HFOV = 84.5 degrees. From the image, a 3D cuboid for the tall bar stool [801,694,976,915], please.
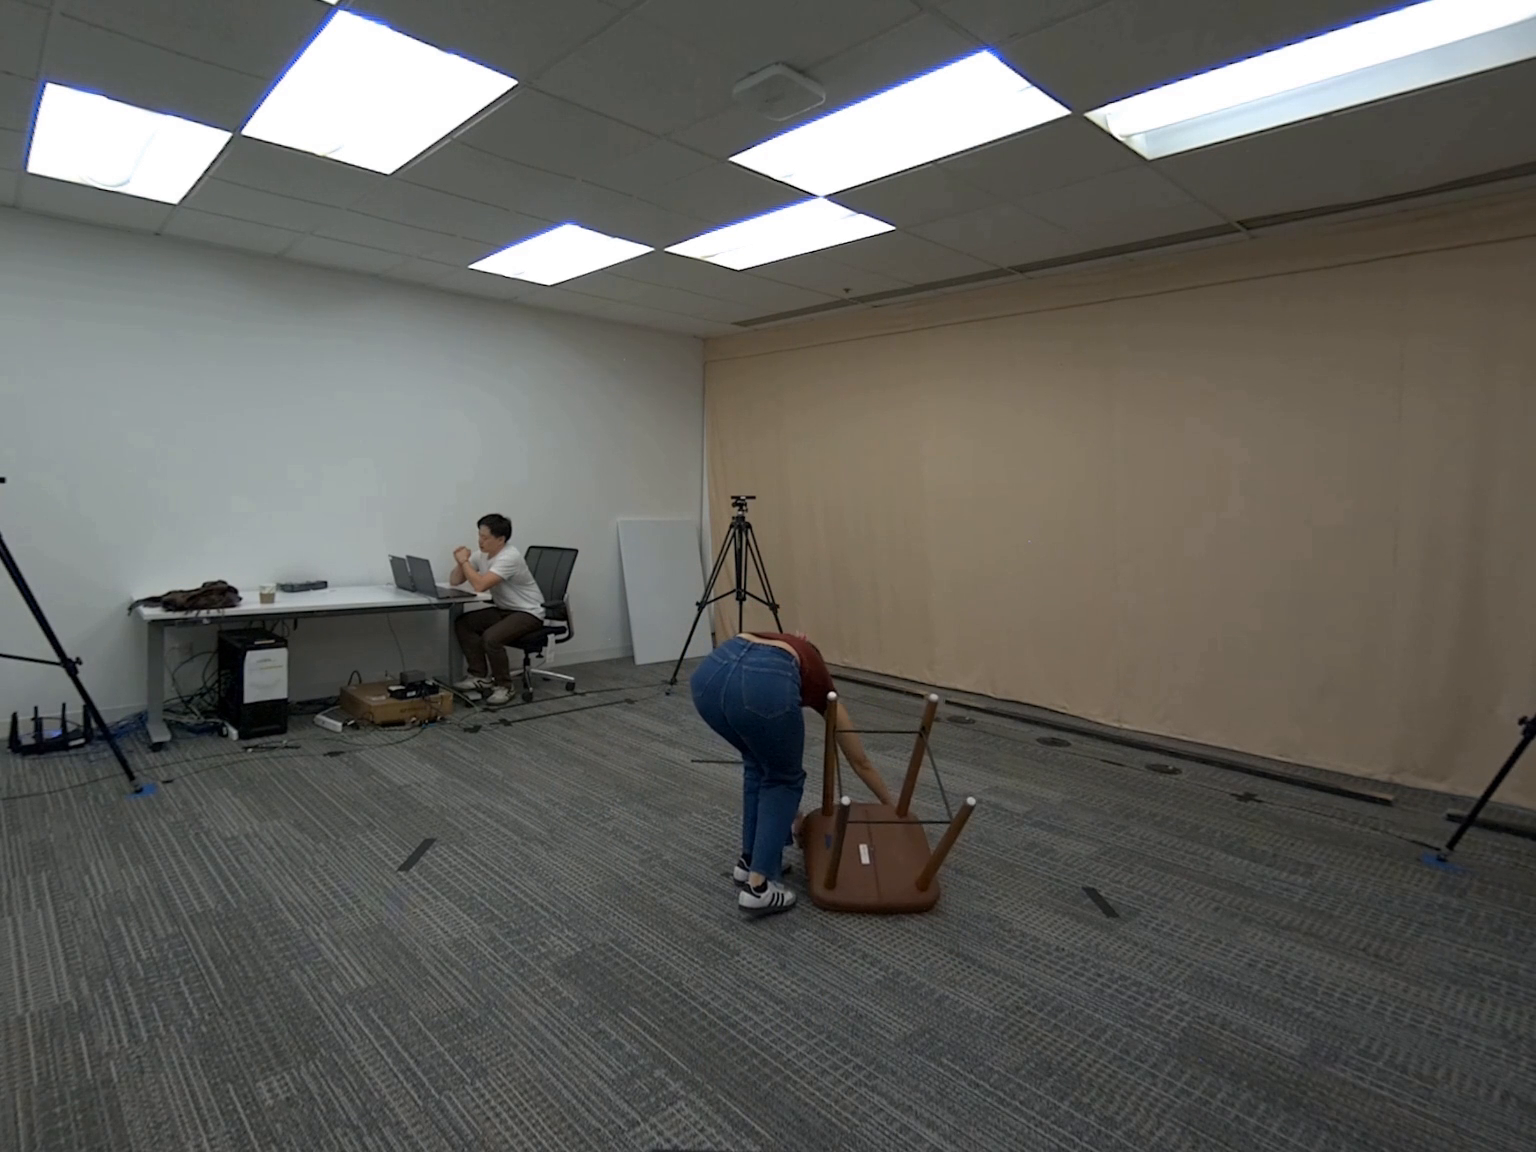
[{"bbox_3d":[0.361,0.869,2.919,0.455,0.873,0.478,2,39,-5],"label":"tall bar stool"}]
